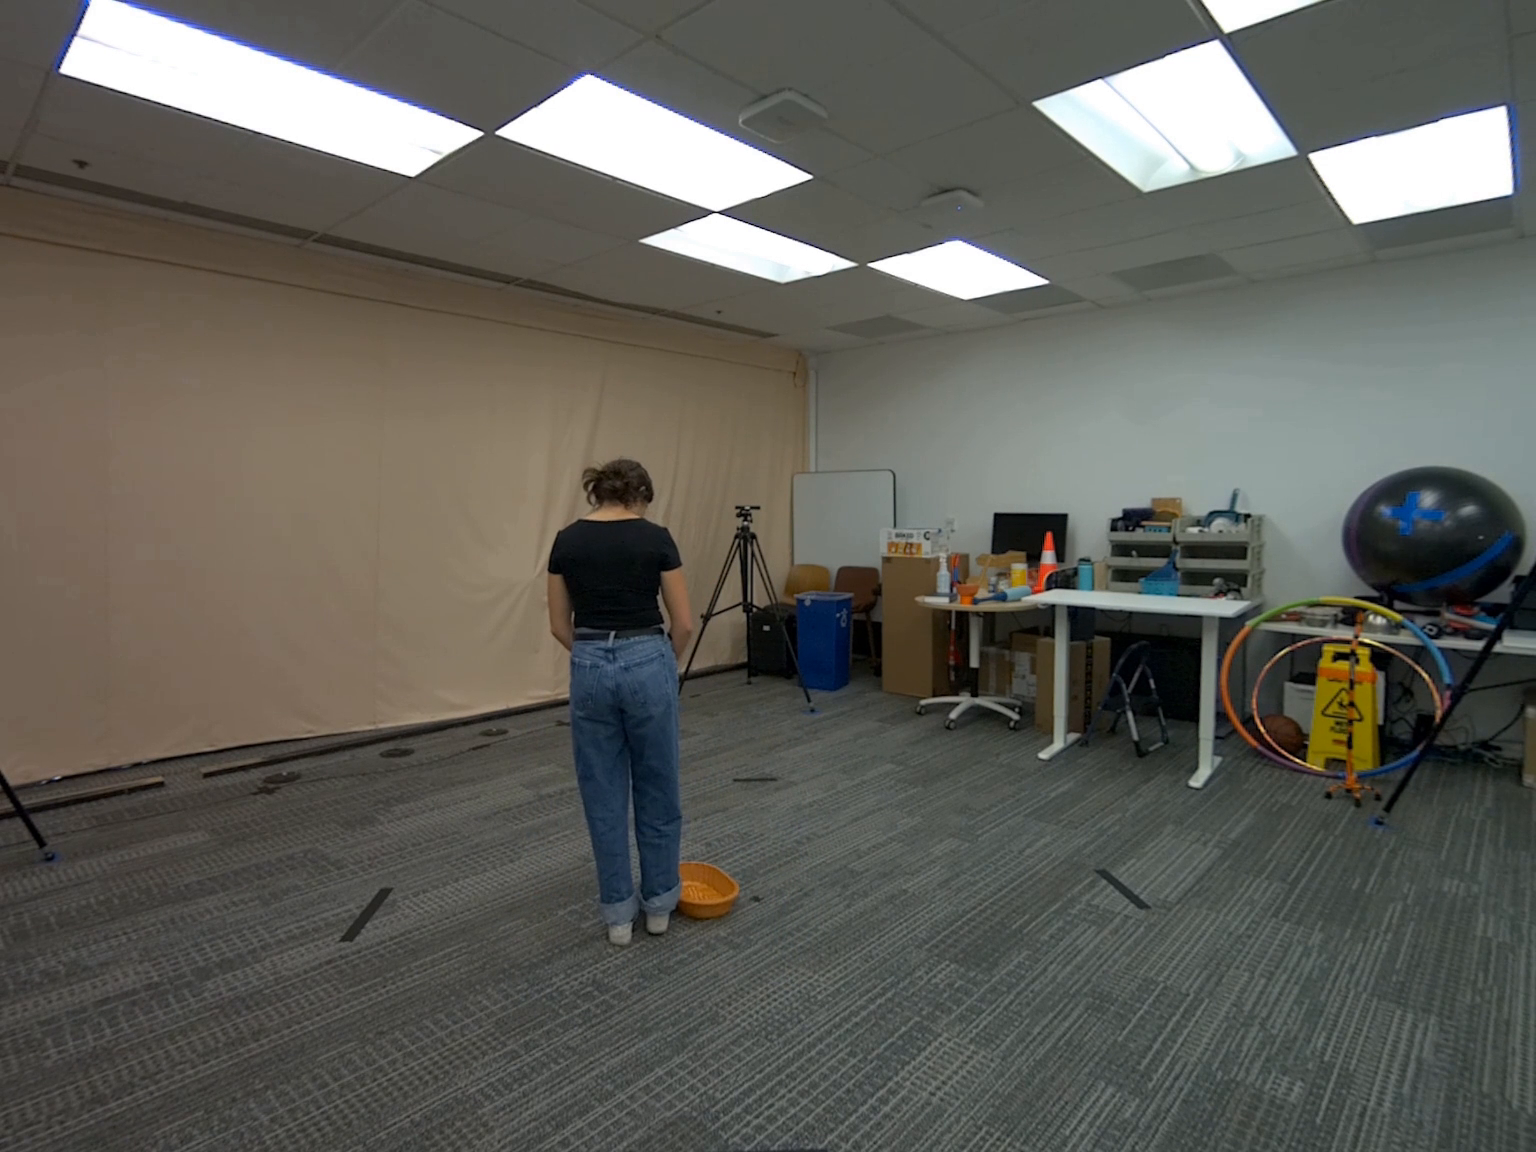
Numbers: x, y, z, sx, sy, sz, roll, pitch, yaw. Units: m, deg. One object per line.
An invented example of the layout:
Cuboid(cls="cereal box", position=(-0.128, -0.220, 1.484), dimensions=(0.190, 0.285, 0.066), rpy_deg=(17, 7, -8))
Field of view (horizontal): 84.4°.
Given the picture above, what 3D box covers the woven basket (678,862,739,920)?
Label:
Cuboid(cls="woven basket", position=(-0.246, 1.106, 2.961), dimensions=(0.246, 0.073, 0.360), rpy_deg=(-1, 5, -27))
